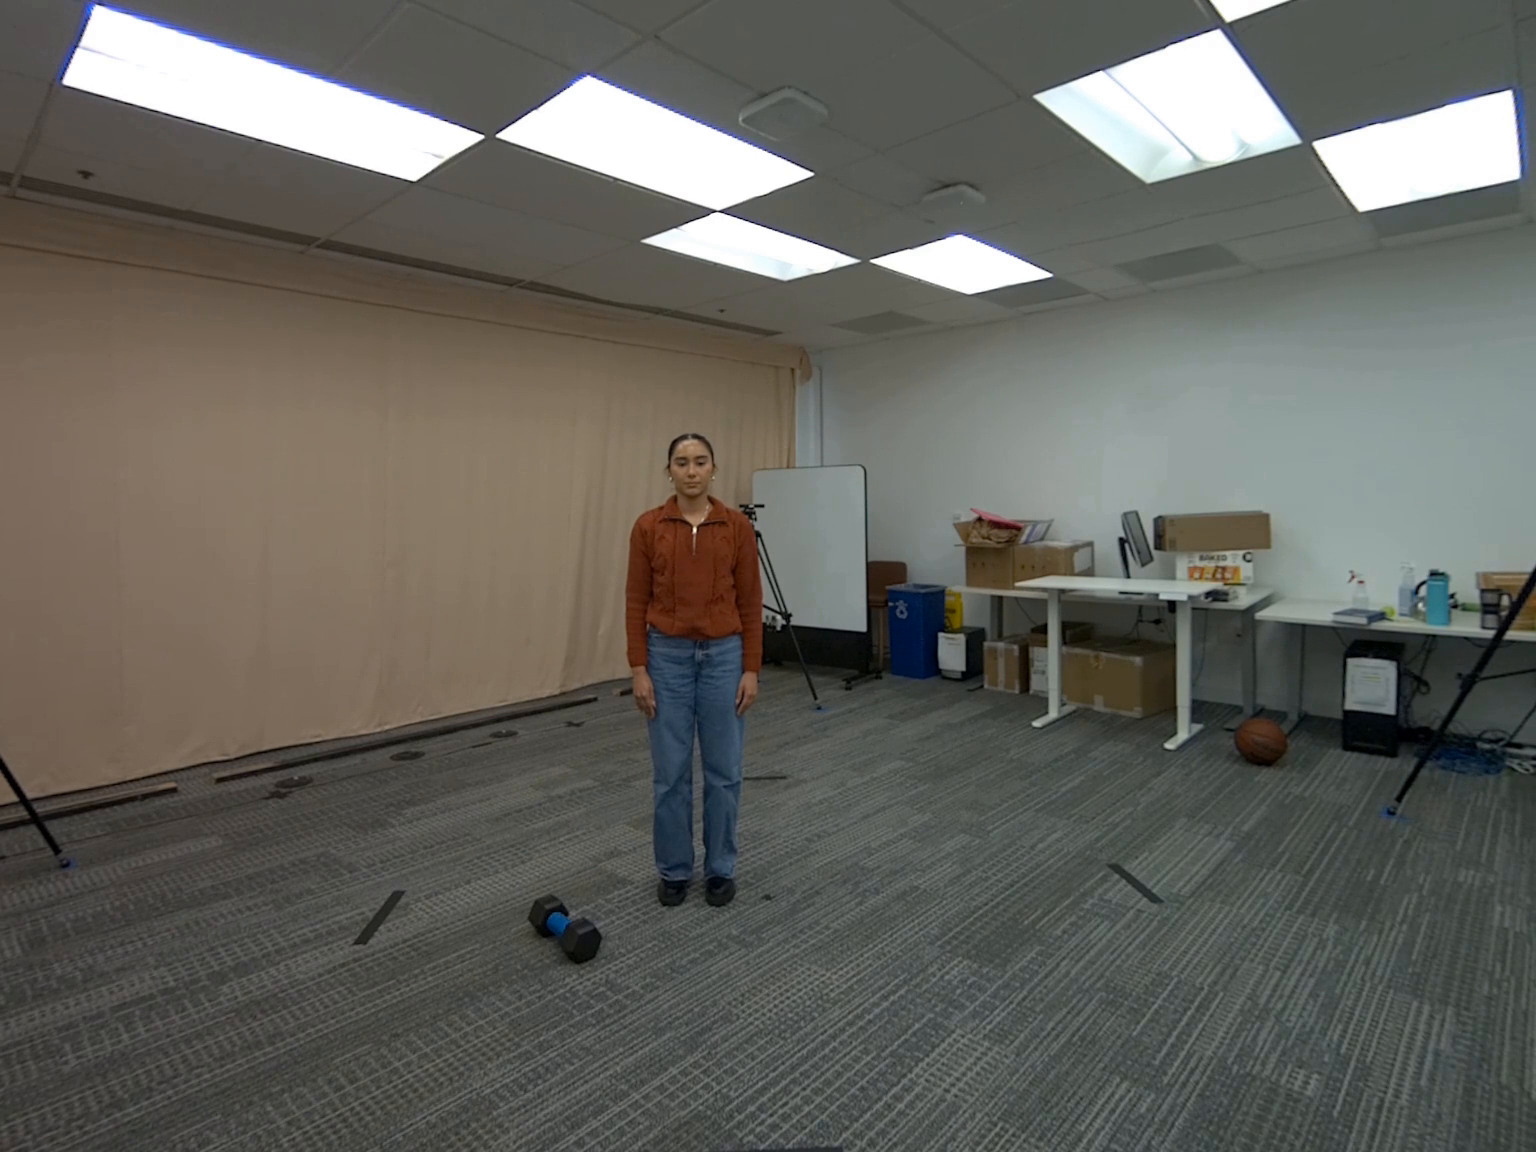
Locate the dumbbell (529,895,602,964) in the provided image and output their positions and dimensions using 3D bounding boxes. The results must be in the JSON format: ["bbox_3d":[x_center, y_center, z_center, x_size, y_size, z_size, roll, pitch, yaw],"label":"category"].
[{"bbox_3d":[-0.652,1.126,2.688,0.303,0.123,0.105,4,-24,48],"label":"dumbbell"}]
